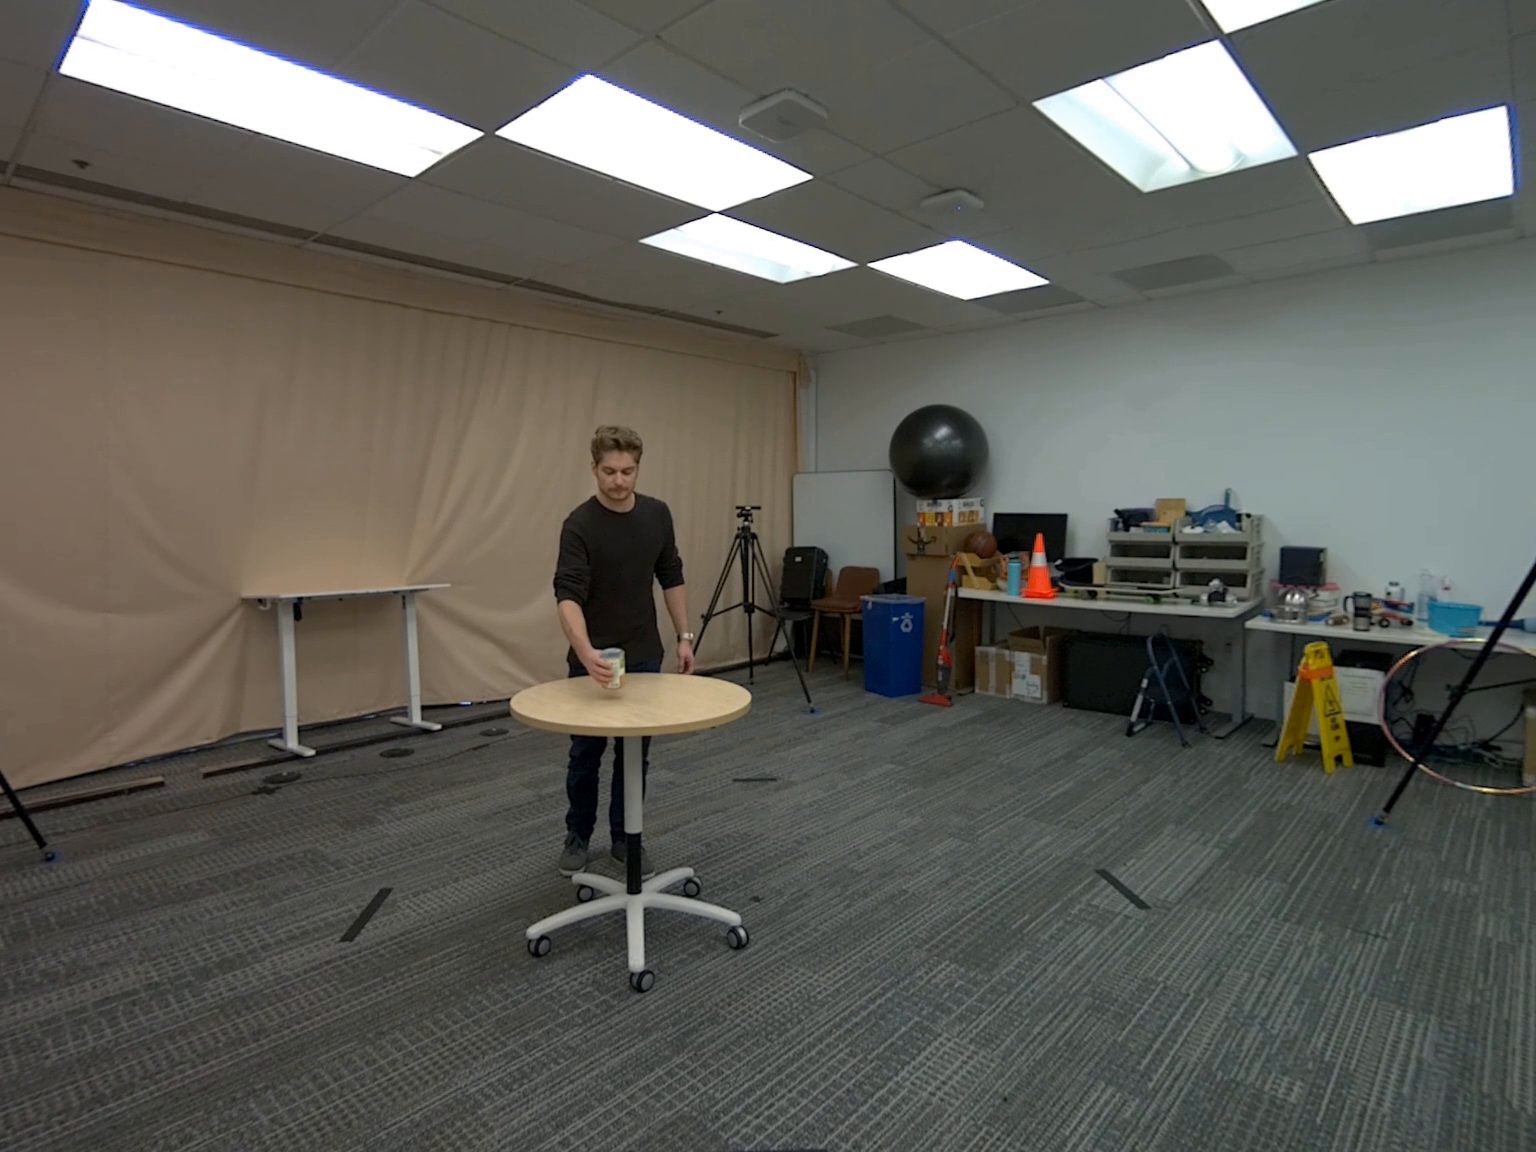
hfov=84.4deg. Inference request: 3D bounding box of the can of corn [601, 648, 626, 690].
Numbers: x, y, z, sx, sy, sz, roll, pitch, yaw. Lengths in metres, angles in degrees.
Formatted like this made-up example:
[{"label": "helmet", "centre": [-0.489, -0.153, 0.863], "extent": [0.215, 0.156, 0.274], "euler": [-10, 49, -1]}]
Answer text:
[{"label": "can of corn", "centre": [-0.494, 0.298, 2.657], "extent": [0.074, 0.110, 0.075], "euler": [-2, 13, -1]}]
